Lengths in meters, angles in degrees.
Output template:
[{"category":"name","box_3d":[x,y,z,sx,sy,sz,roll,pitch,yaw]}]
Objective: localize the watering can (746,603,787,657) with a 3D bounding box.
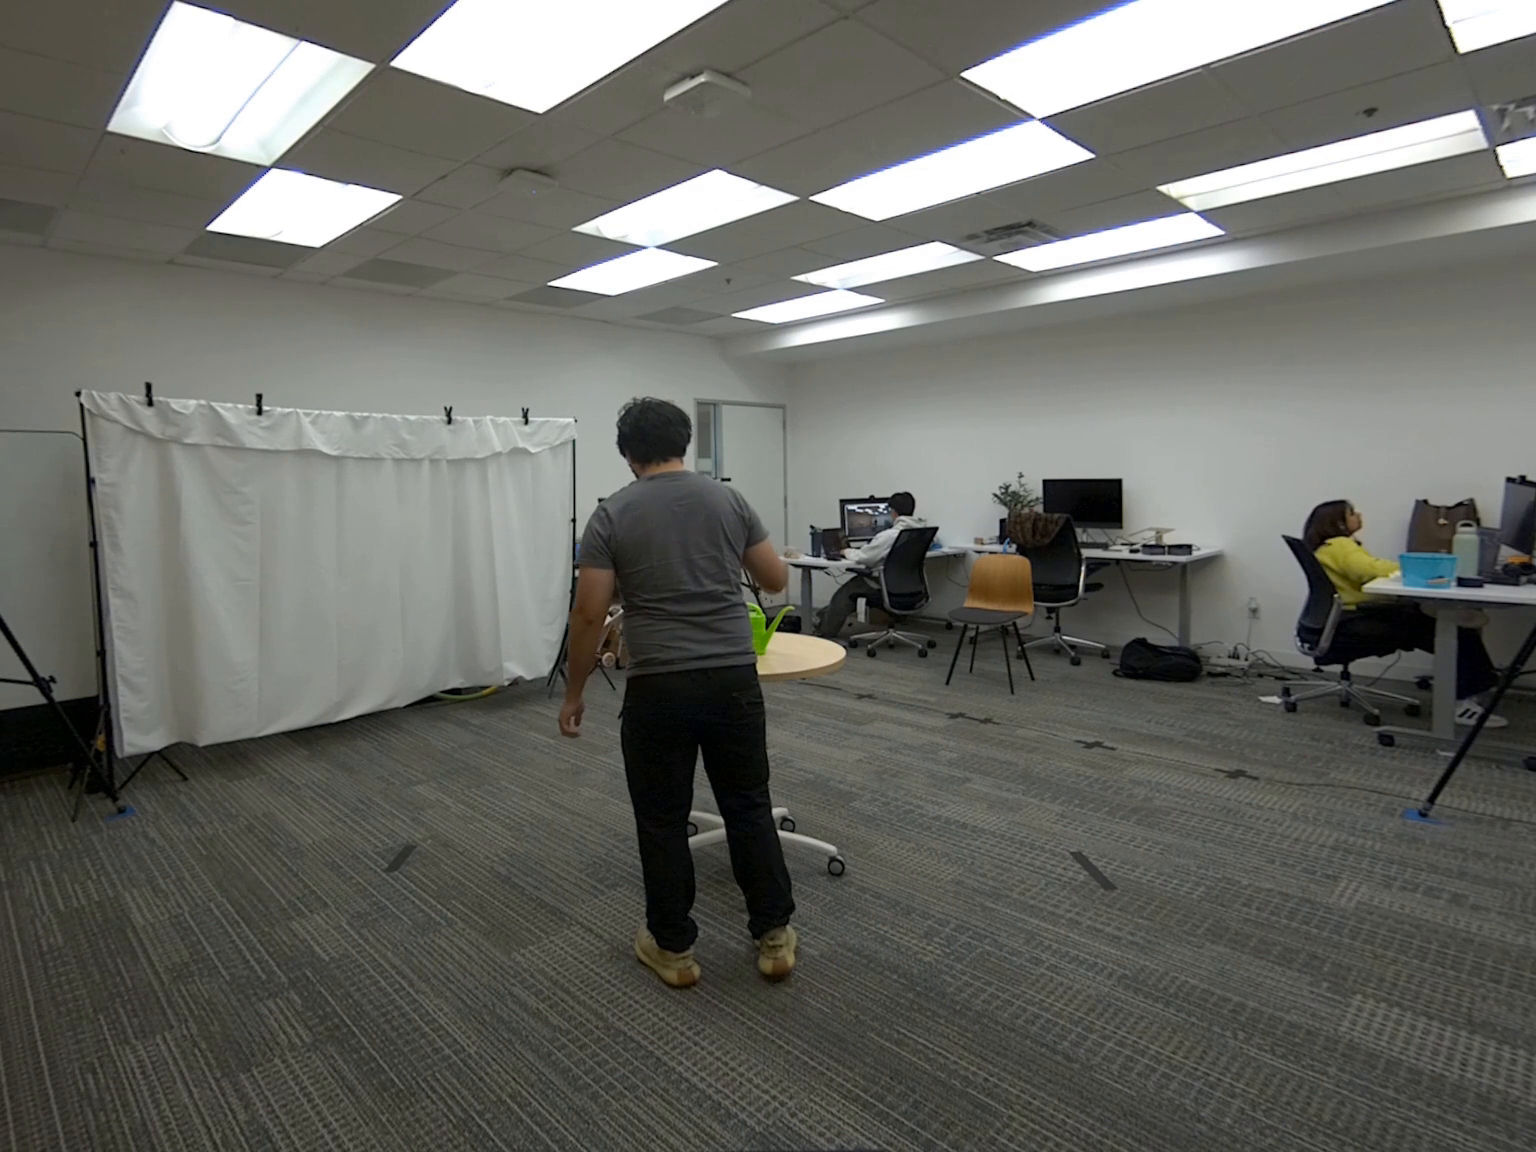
[{"category":"watering can","box_3d":[-0.031,0.185,2.972,0.095,0.176,0.286,-1,3,-41]}]
